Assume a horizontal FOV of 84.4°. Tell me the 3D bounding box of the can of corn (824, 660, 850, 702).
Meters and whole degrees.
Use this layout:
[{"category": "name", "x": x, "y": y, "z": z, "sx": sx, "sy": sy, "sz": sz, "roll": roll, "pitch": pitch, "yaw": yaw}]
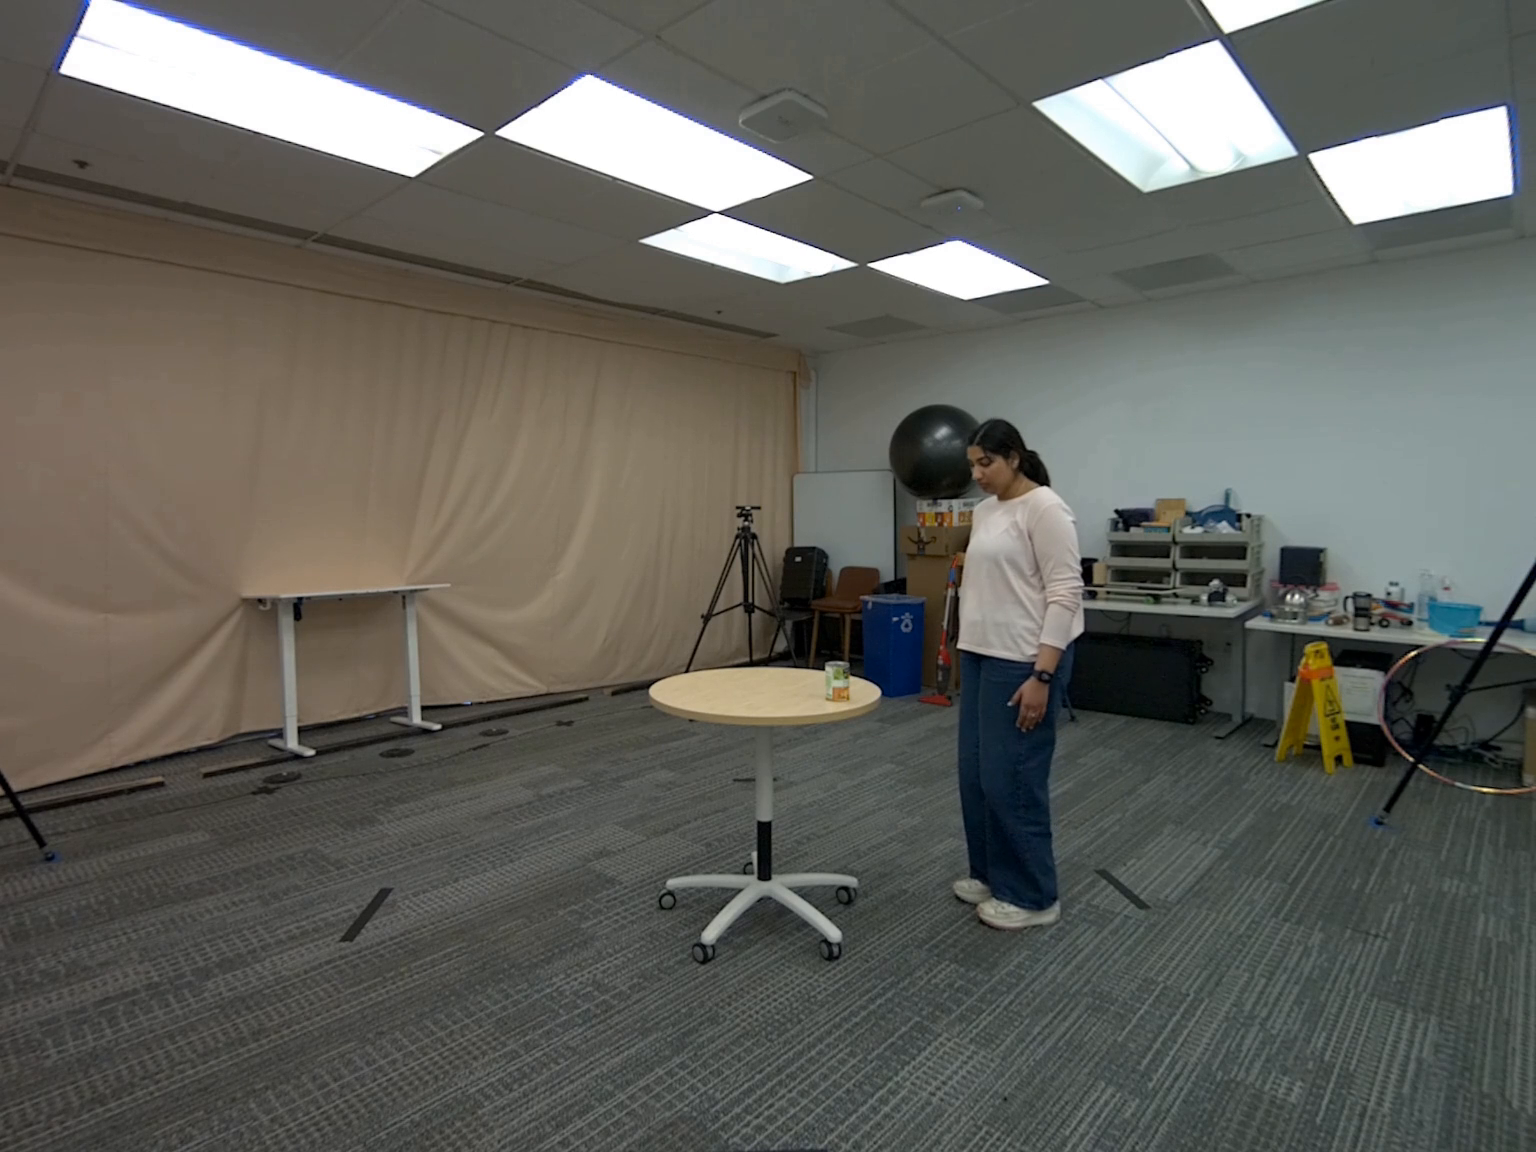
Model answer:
[{"category": "can of corn", "x": 0.226, "y": 0.331, "z": 2.632, "sx": 0.074, "sy": 0.111, "sz": 0.074, "roll": -1, "pitch": 2, "yaw": -2}]
